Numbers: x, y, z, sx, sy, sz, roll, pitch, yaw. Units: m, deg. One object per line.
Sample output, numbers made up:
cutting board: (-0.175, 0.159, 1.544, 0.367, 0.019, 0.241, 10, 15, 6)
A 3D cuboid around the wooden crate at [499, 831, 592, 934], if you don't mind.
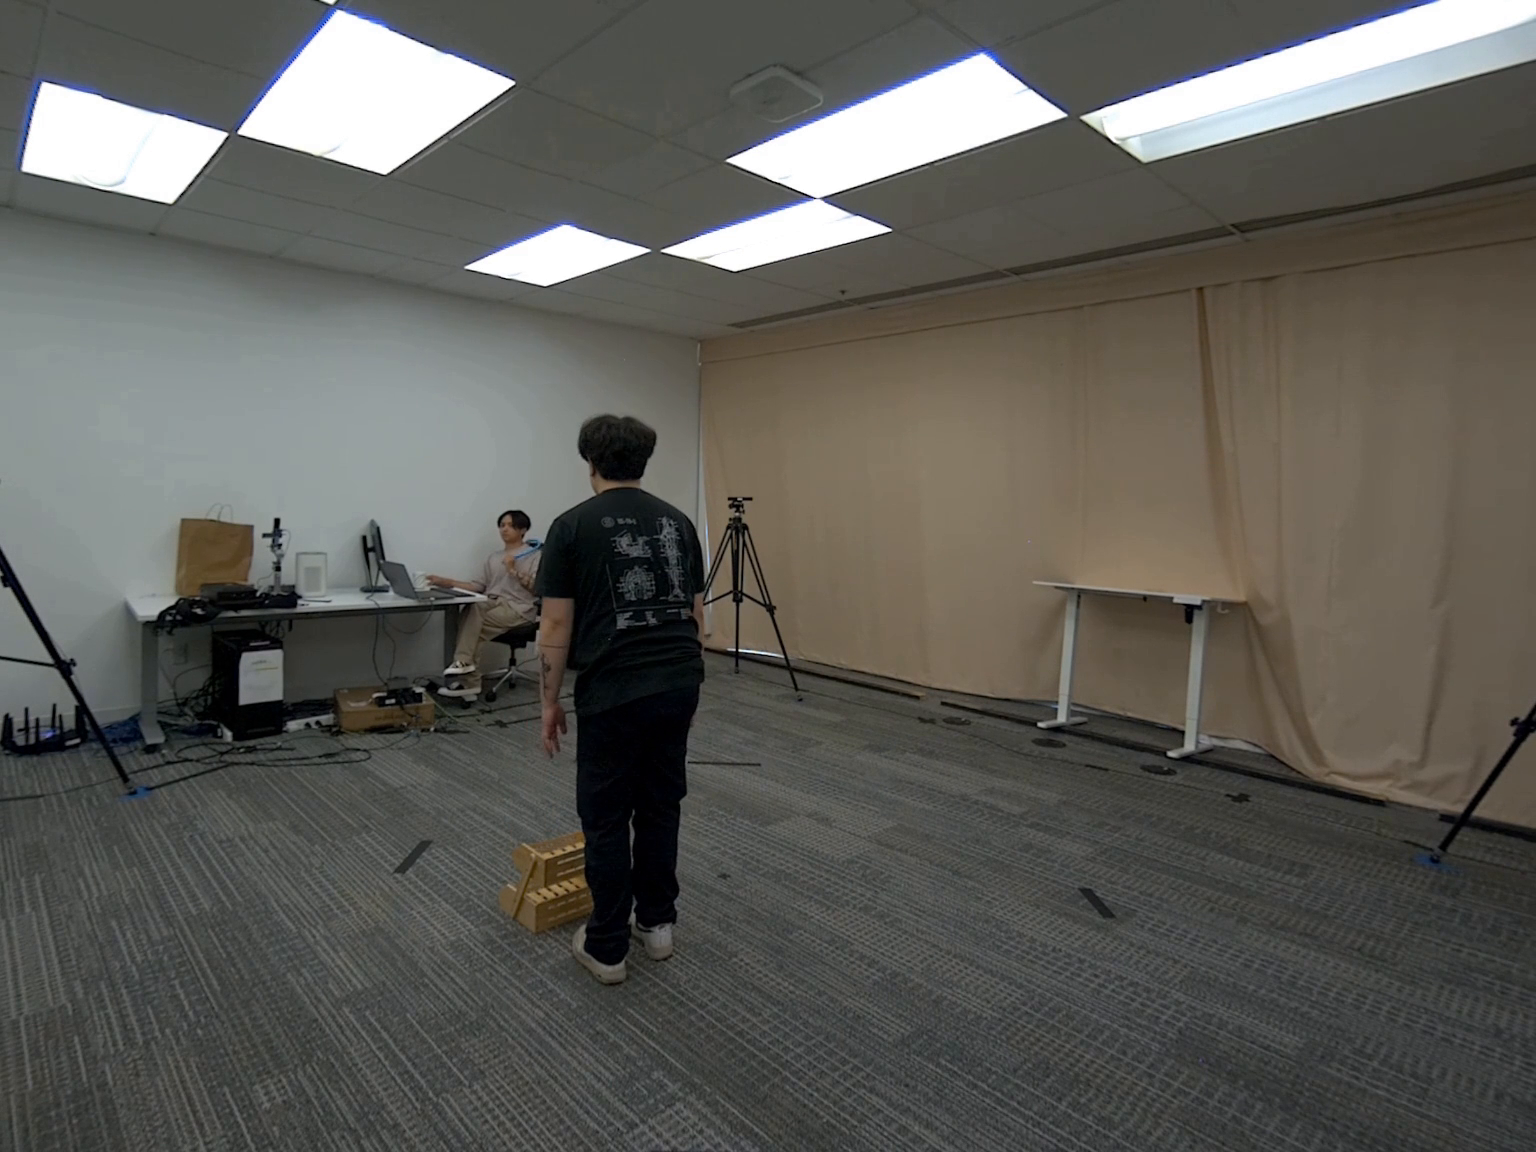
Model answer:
wooden crate: (-0.701, 0.980, 2.832, 0.317, 0.272, 0.310, -3, 6, -44)
